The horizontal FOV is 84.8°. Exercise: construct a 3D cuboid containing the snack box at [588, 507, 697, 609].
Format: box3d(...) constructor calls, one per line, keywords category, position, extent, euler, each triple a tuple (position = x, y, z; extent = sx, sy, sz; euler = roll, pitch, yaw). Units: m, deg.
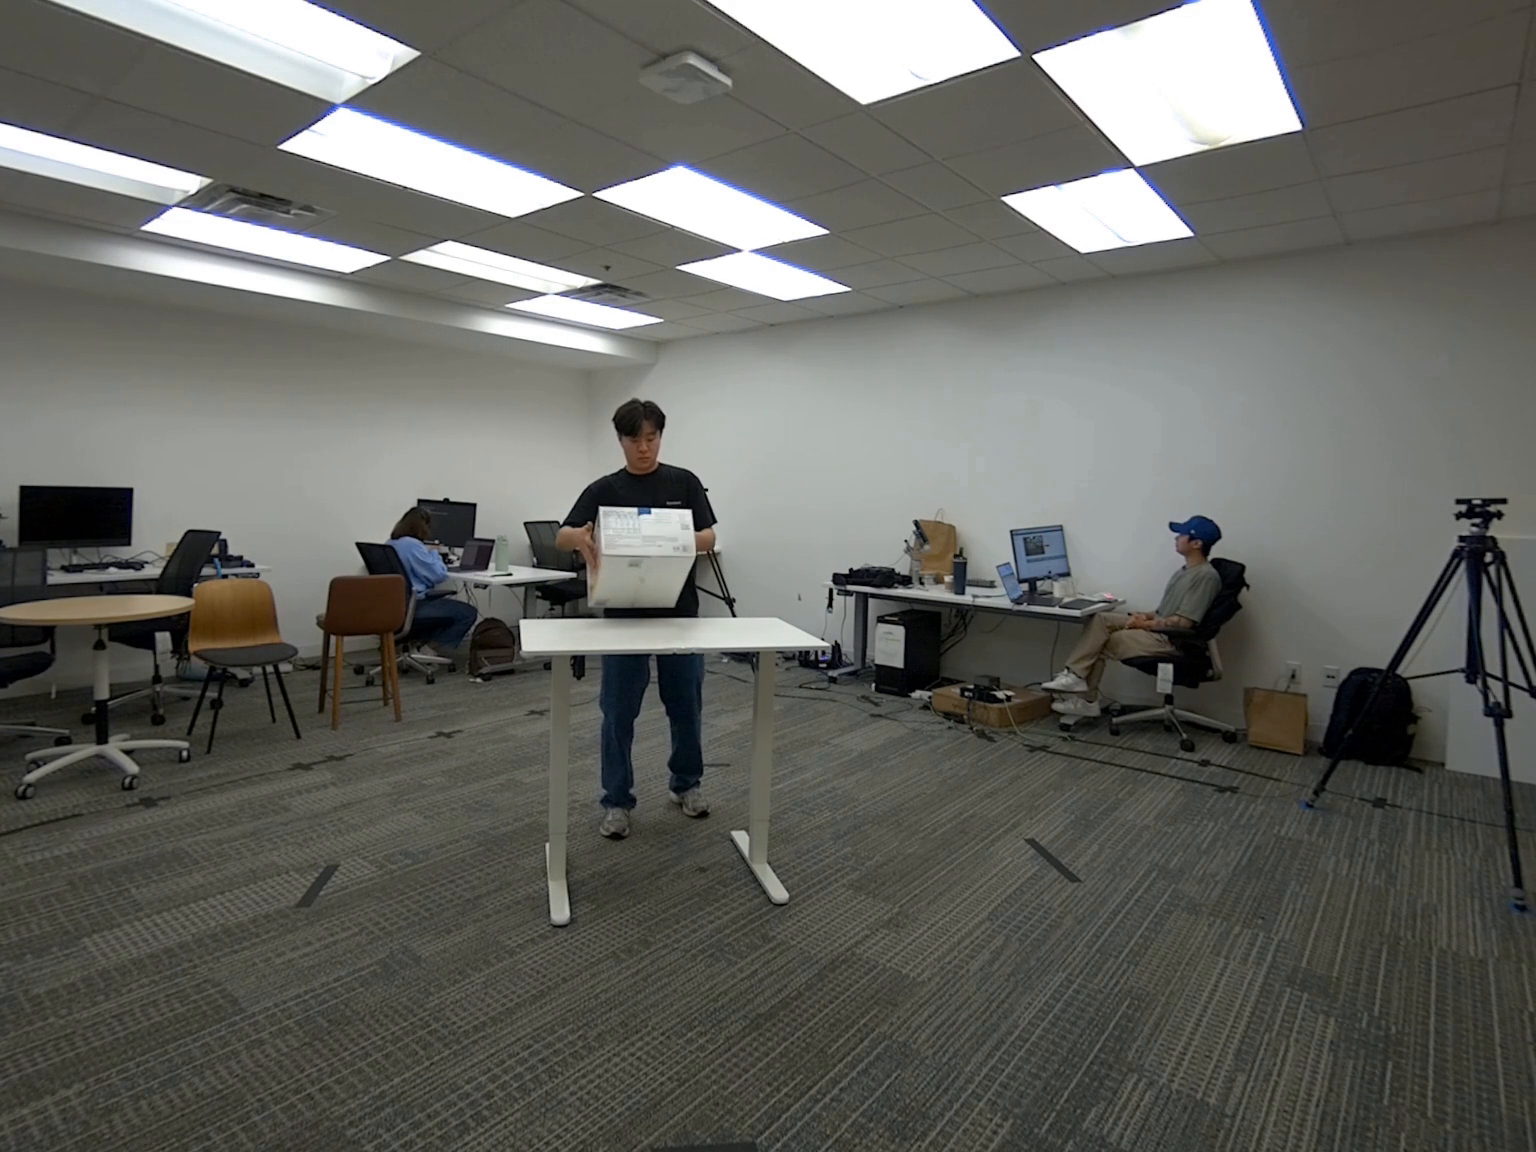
box3d(category="snack box", position=(-0.494, -0.067, 3.187), extent=(0.335, 0.211, 0.401), euler=(2, -29, -16))
